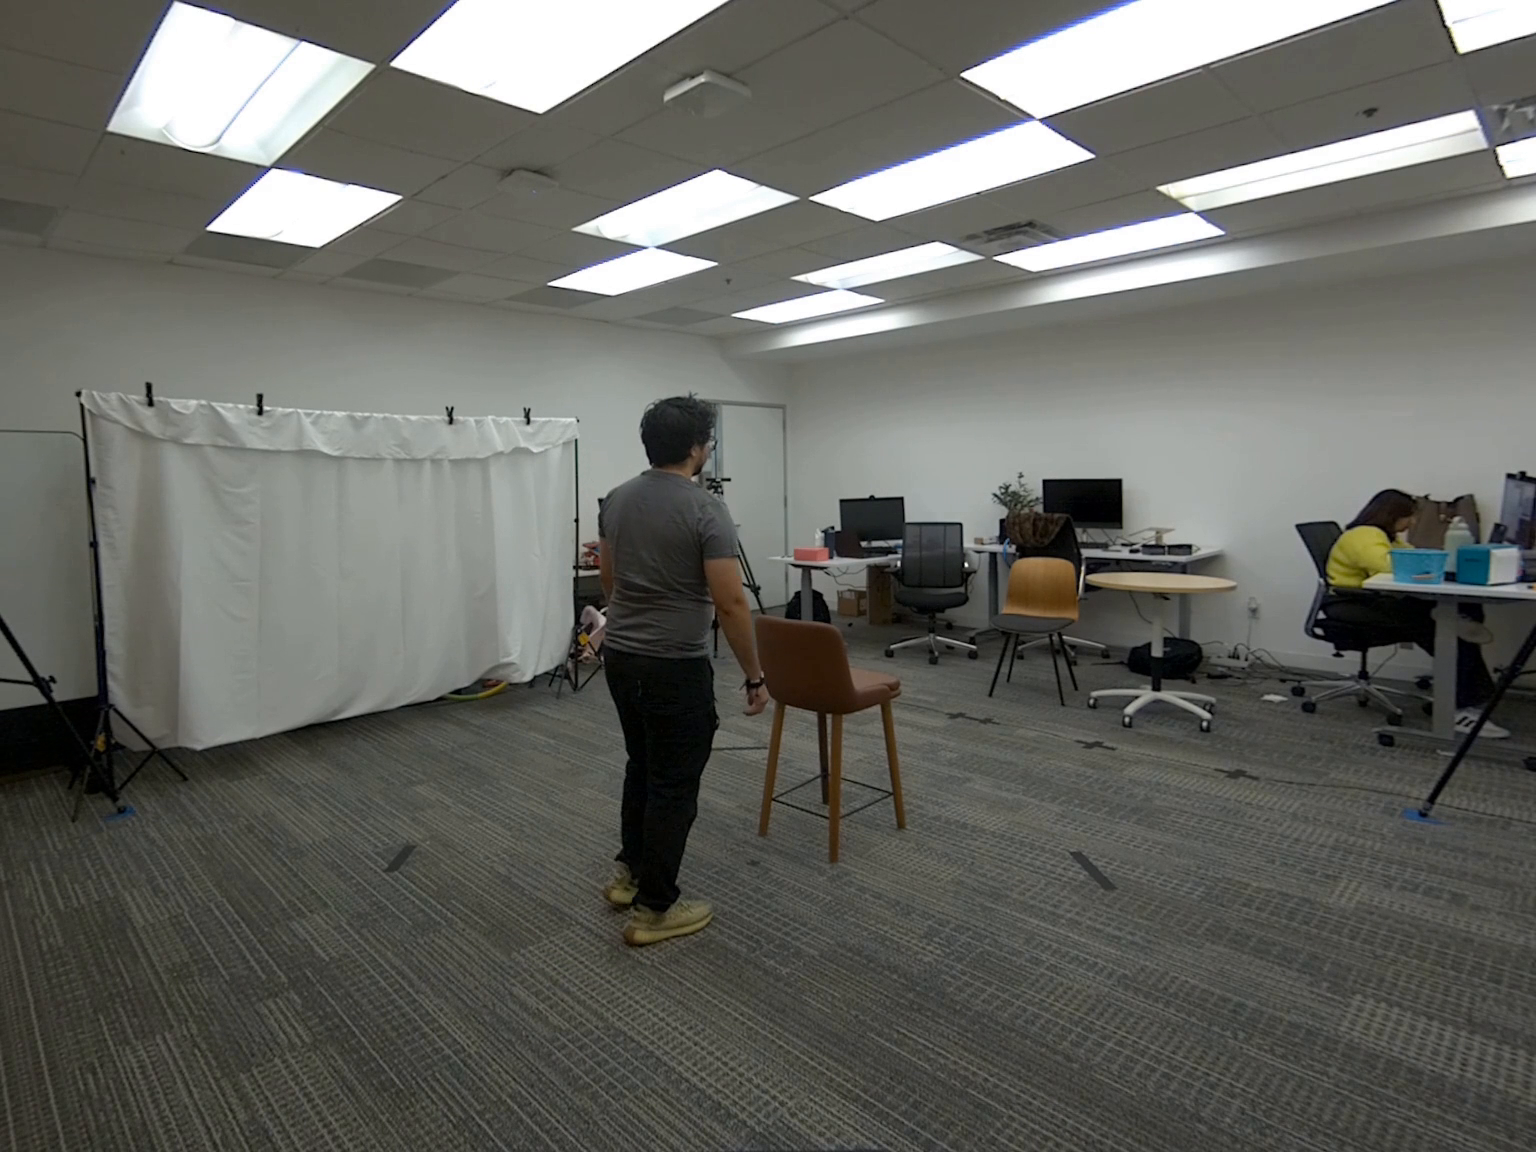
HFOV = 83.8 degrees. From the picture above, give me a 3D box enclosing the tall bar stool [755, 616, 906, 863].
[{"bbox_3d":[0.241,0.574,3.346,0.471,0.885,0.456,4,8,44],"label":"tall bar stool"}]
